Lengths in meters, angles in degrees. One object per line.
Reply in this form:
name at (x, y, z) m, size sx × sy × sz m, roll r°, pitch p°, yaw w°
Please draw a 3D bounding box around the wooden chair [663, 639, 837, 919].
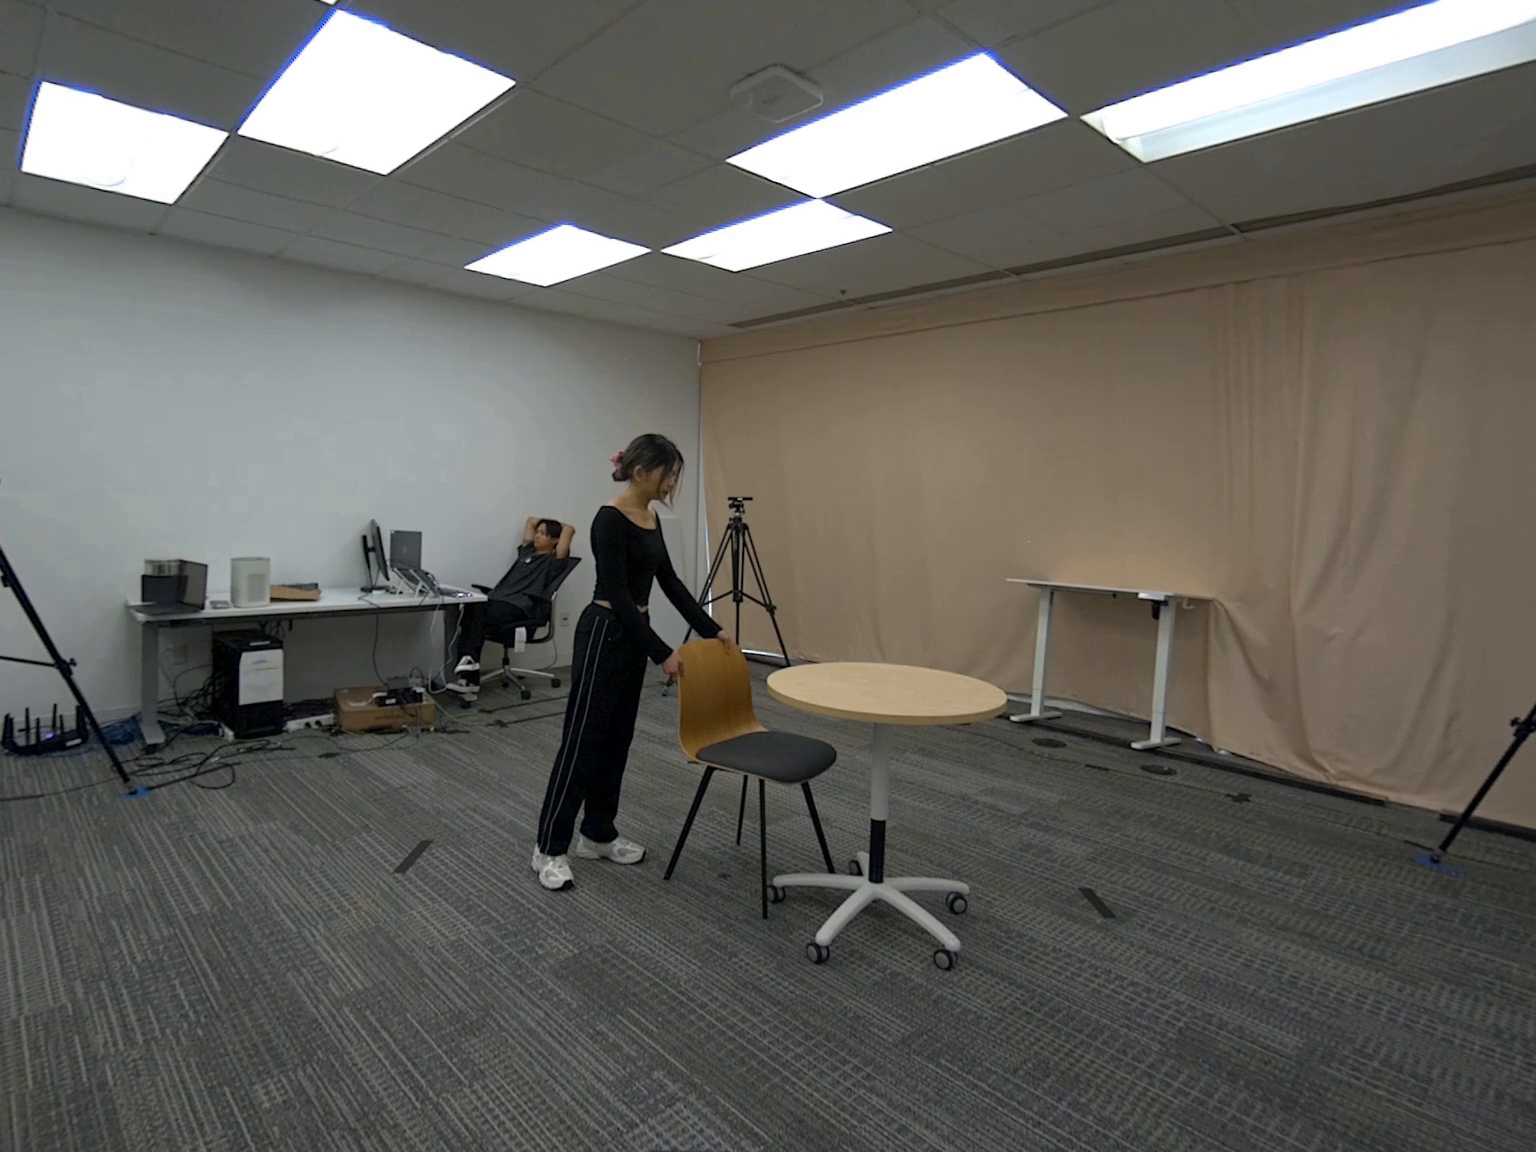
wooden chair at (-0.055, 0.683, 3.068) m, size 0.535 × 0.877 × 0.467 m, roll -2°, pitch 1°, yaw 36°
